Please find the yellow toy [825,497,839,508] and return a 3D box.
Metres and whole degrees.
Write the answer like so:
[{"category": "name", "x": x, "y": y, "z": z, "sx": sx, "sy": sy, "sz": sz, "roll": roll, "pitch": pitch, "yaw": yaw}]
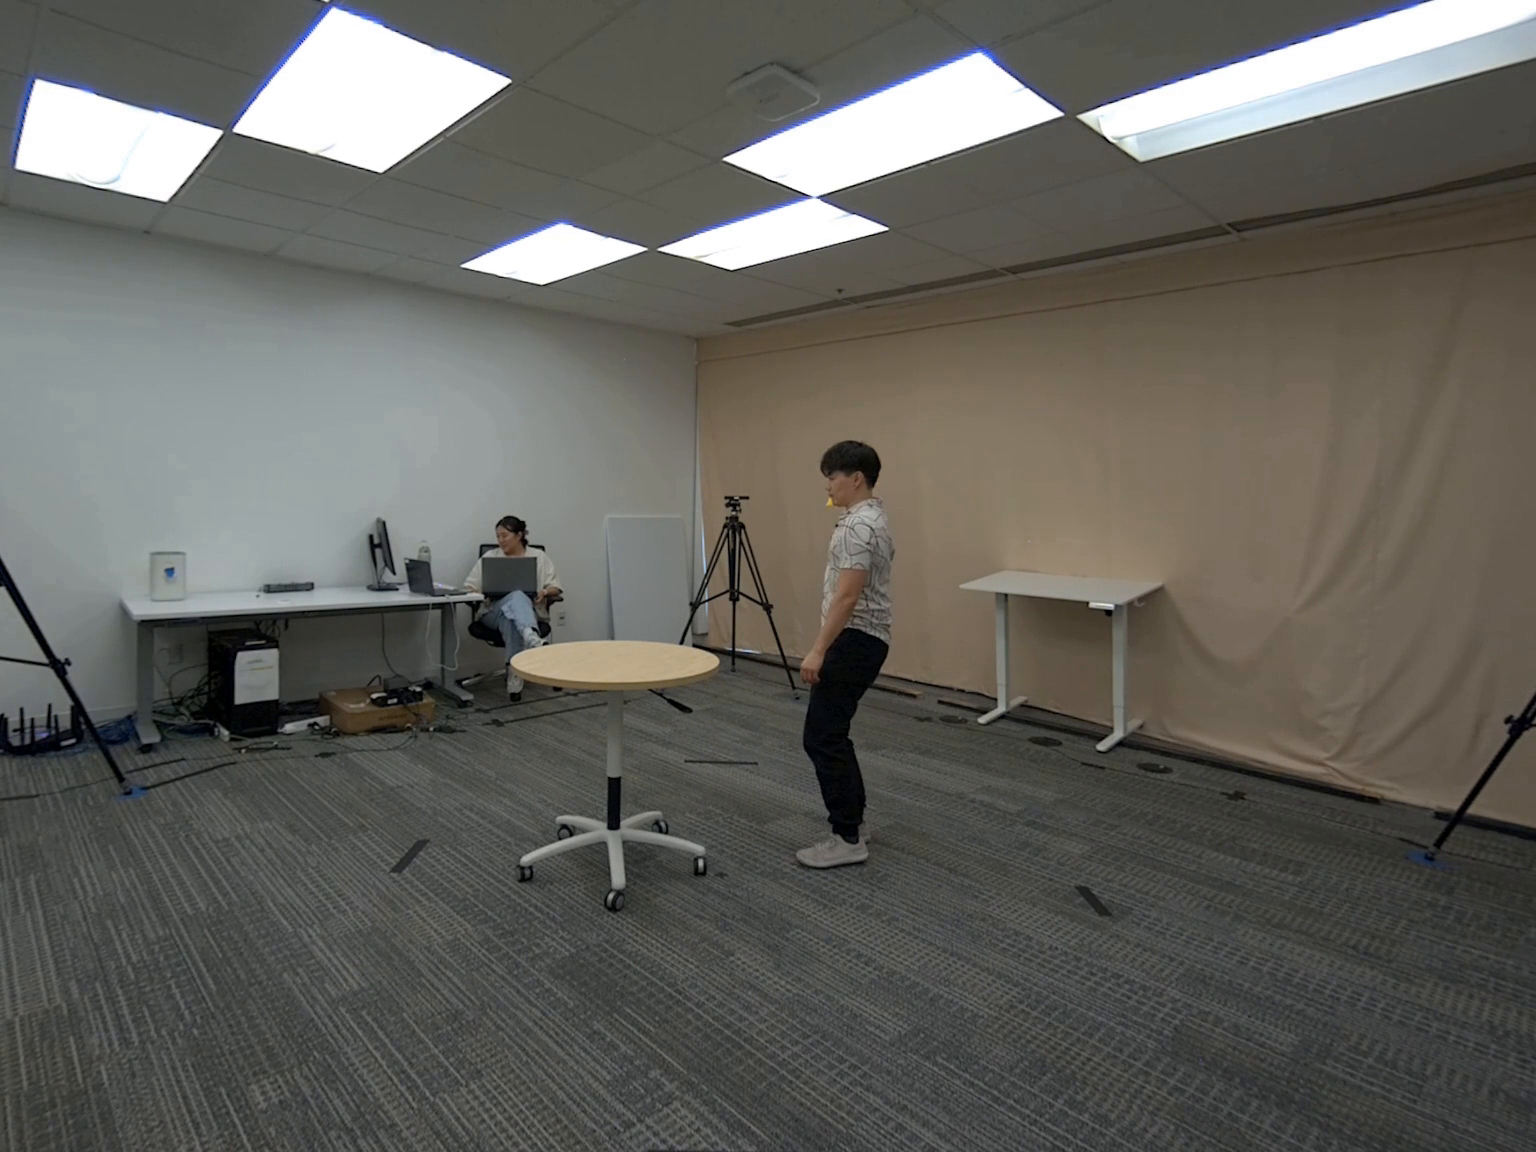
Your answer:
[{"category": "yellow toy", "x": 0.346, "y": -0.423, "z": 3.649, "sx": 0.196, "sy": 0.231, "sz": 0.201, "roll": -7, "pitch": -2, "yaw": 24}]
